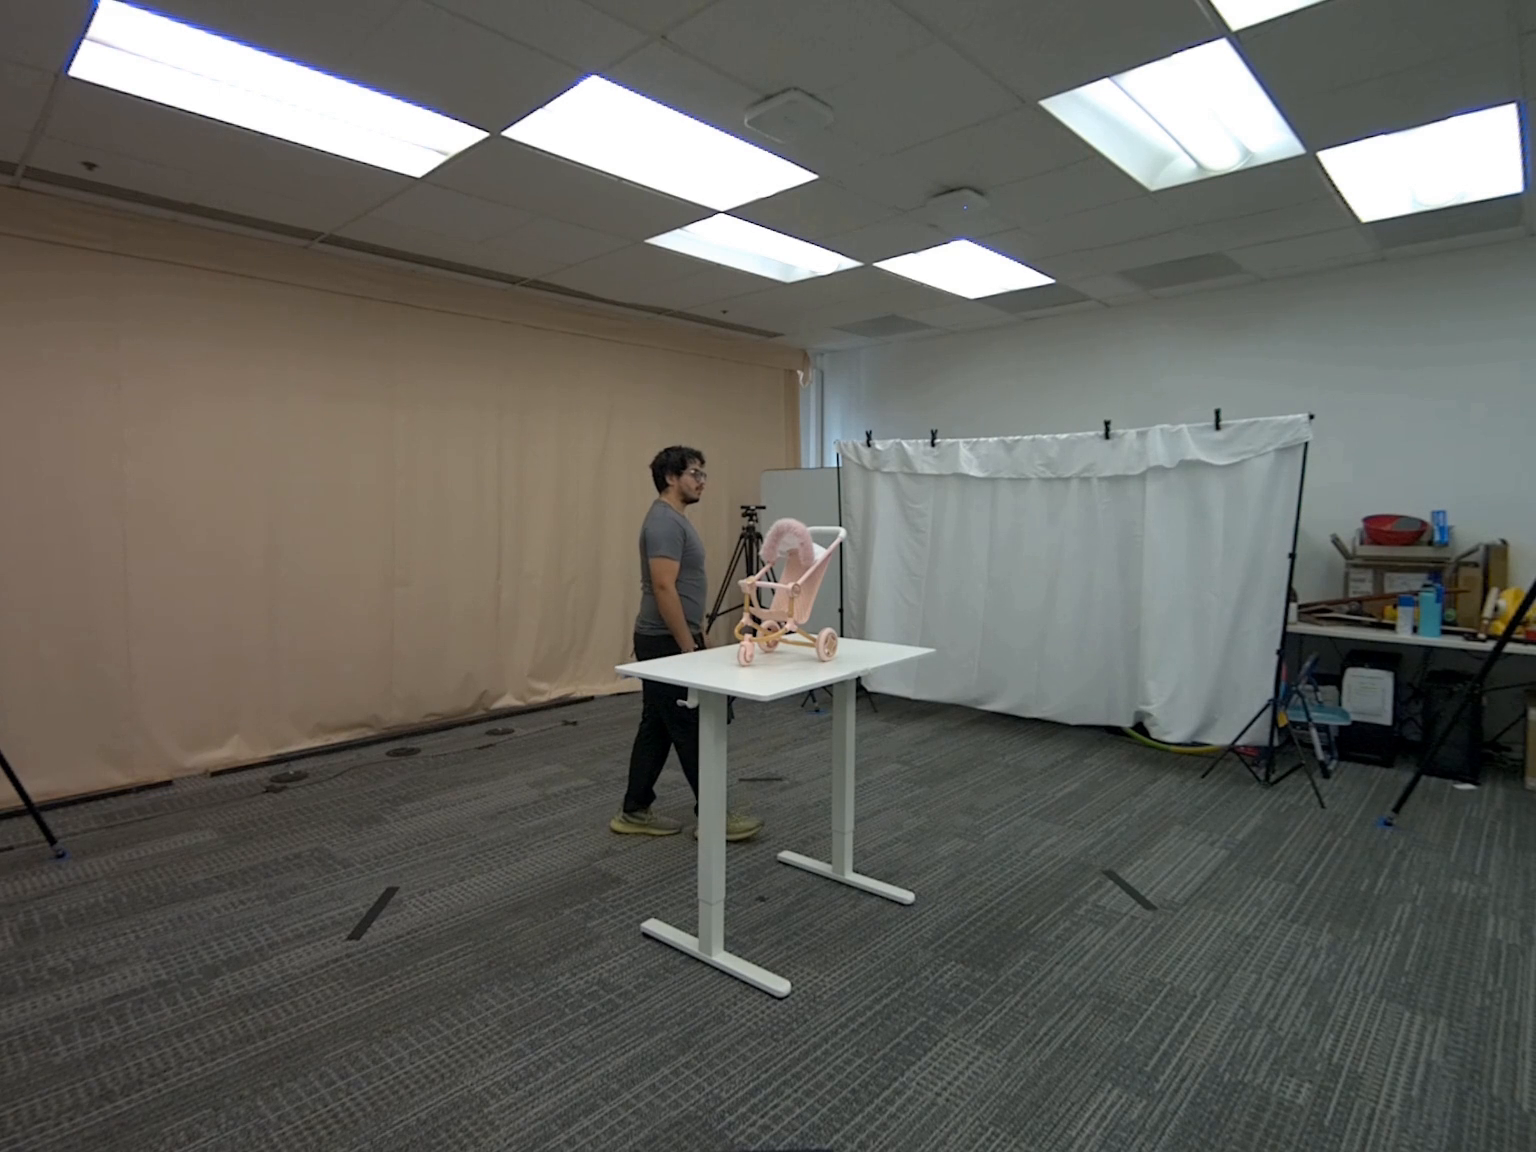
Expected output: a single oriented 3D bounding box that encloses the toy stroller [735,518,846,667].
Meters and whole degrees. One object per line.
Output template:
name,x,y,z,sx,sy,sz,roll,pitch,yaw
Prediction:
toy stroller,0.060,0.052,2.783,0.329,0.537,0.291,18,-11,-43
